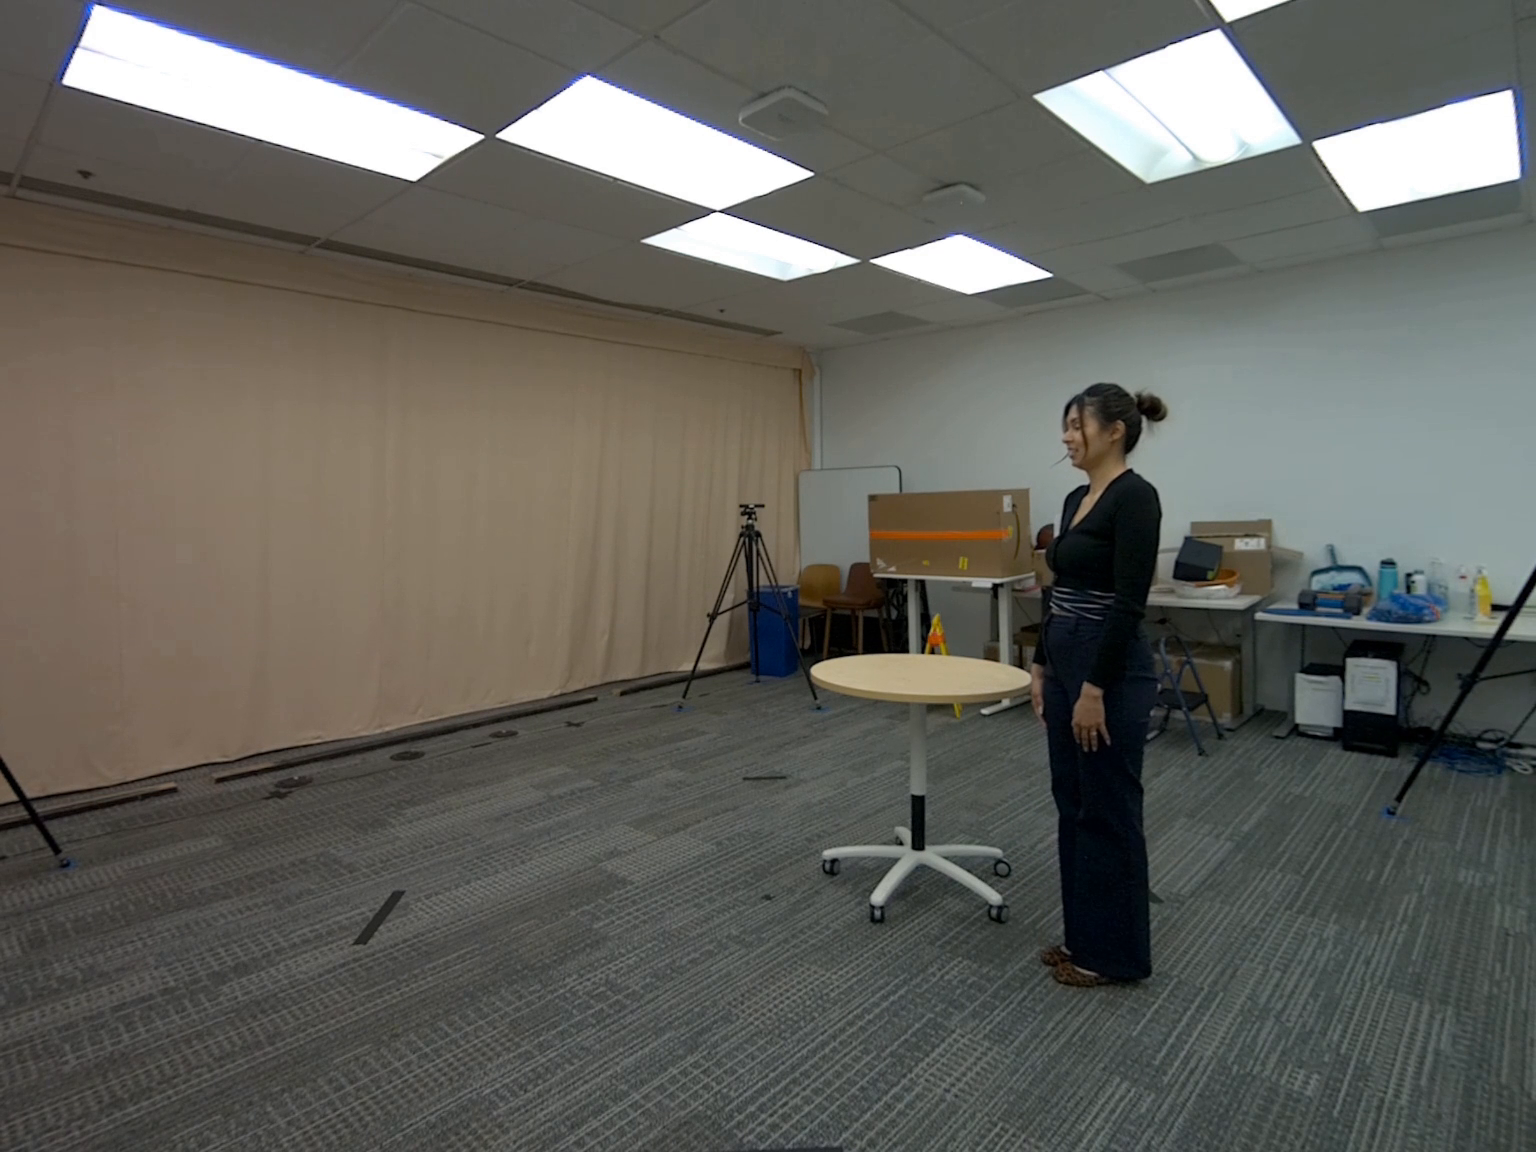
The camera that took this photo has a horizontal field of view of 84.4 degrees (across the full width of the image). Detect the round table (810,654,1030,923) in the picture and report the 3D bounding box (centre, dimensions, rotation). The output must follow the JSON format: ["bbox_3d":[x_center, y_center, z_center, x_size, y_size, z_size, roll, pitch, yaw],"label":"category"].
[{"bbox_3d":[0.544,0.737,3.023,0.763,0.792,0.766,0,3,-2],"label":"round table"}]
